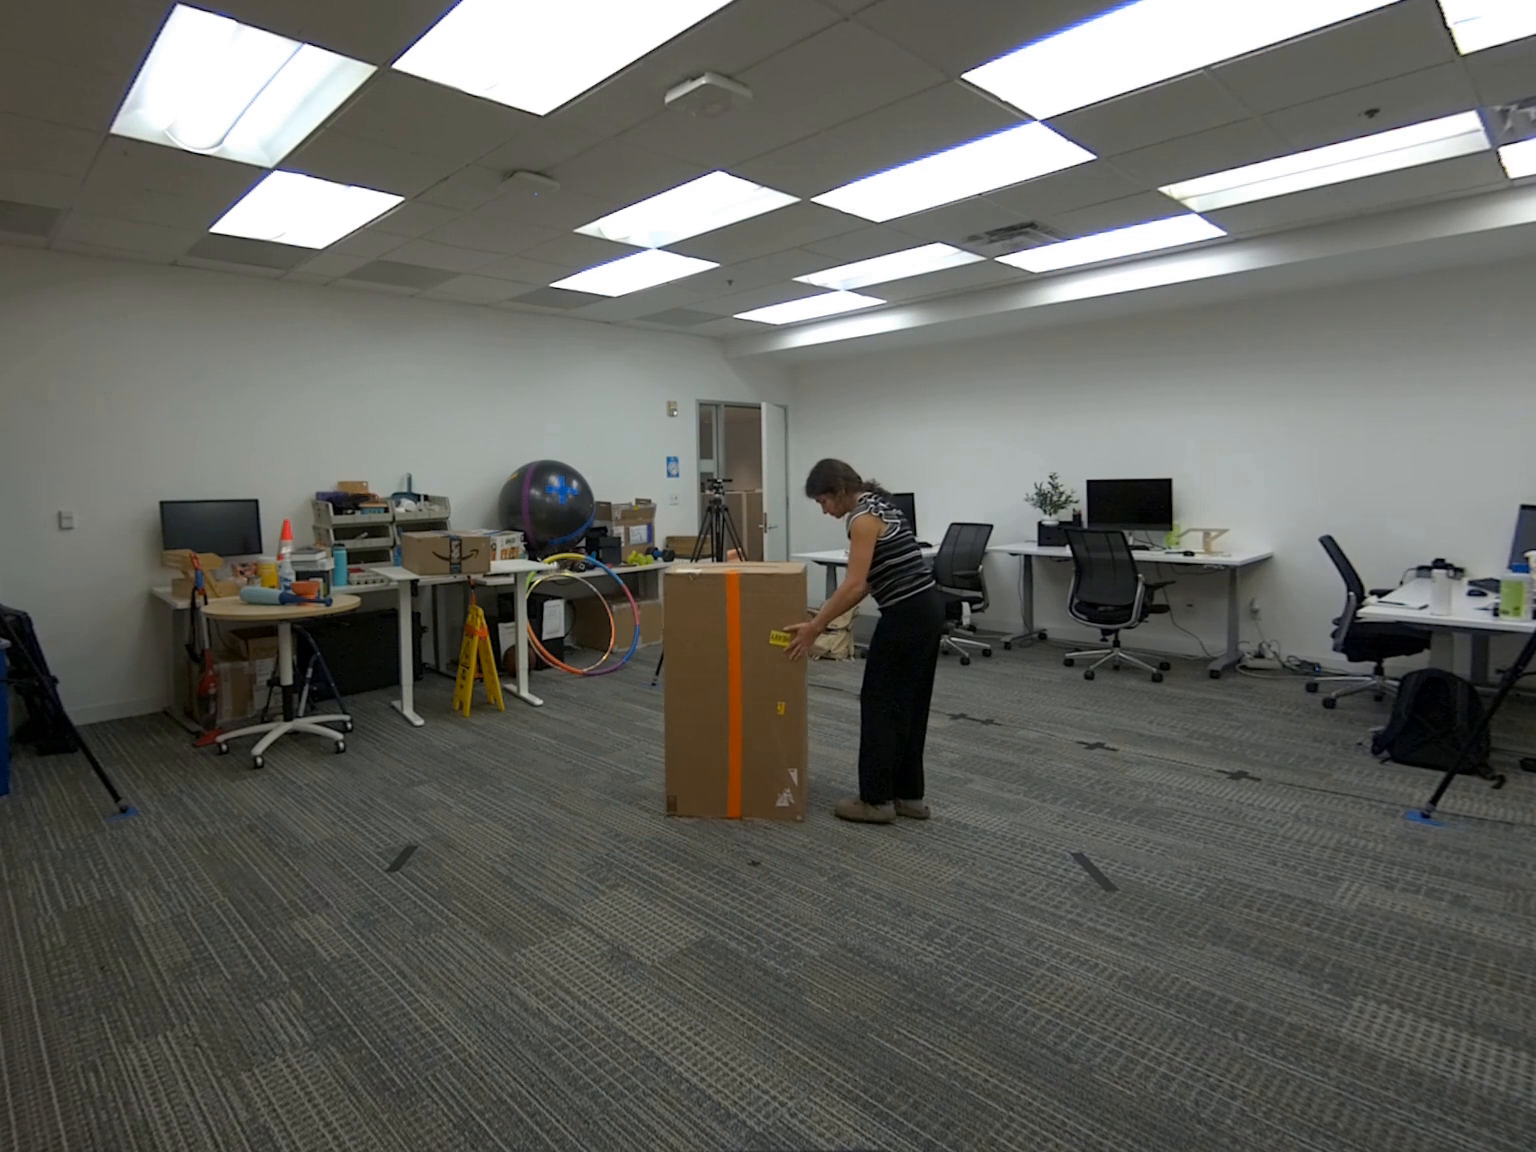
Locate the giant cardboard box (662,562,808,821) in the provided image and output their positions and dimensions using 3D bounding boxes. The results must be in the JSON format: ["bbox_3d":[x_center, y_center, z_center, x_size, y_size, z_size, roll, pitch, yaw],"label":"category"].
[{"bbox_3d":[-0.132,0.469,3.695,0.582,1.022,0.425,0,4,6],"label":"giant cardboard box"}]
